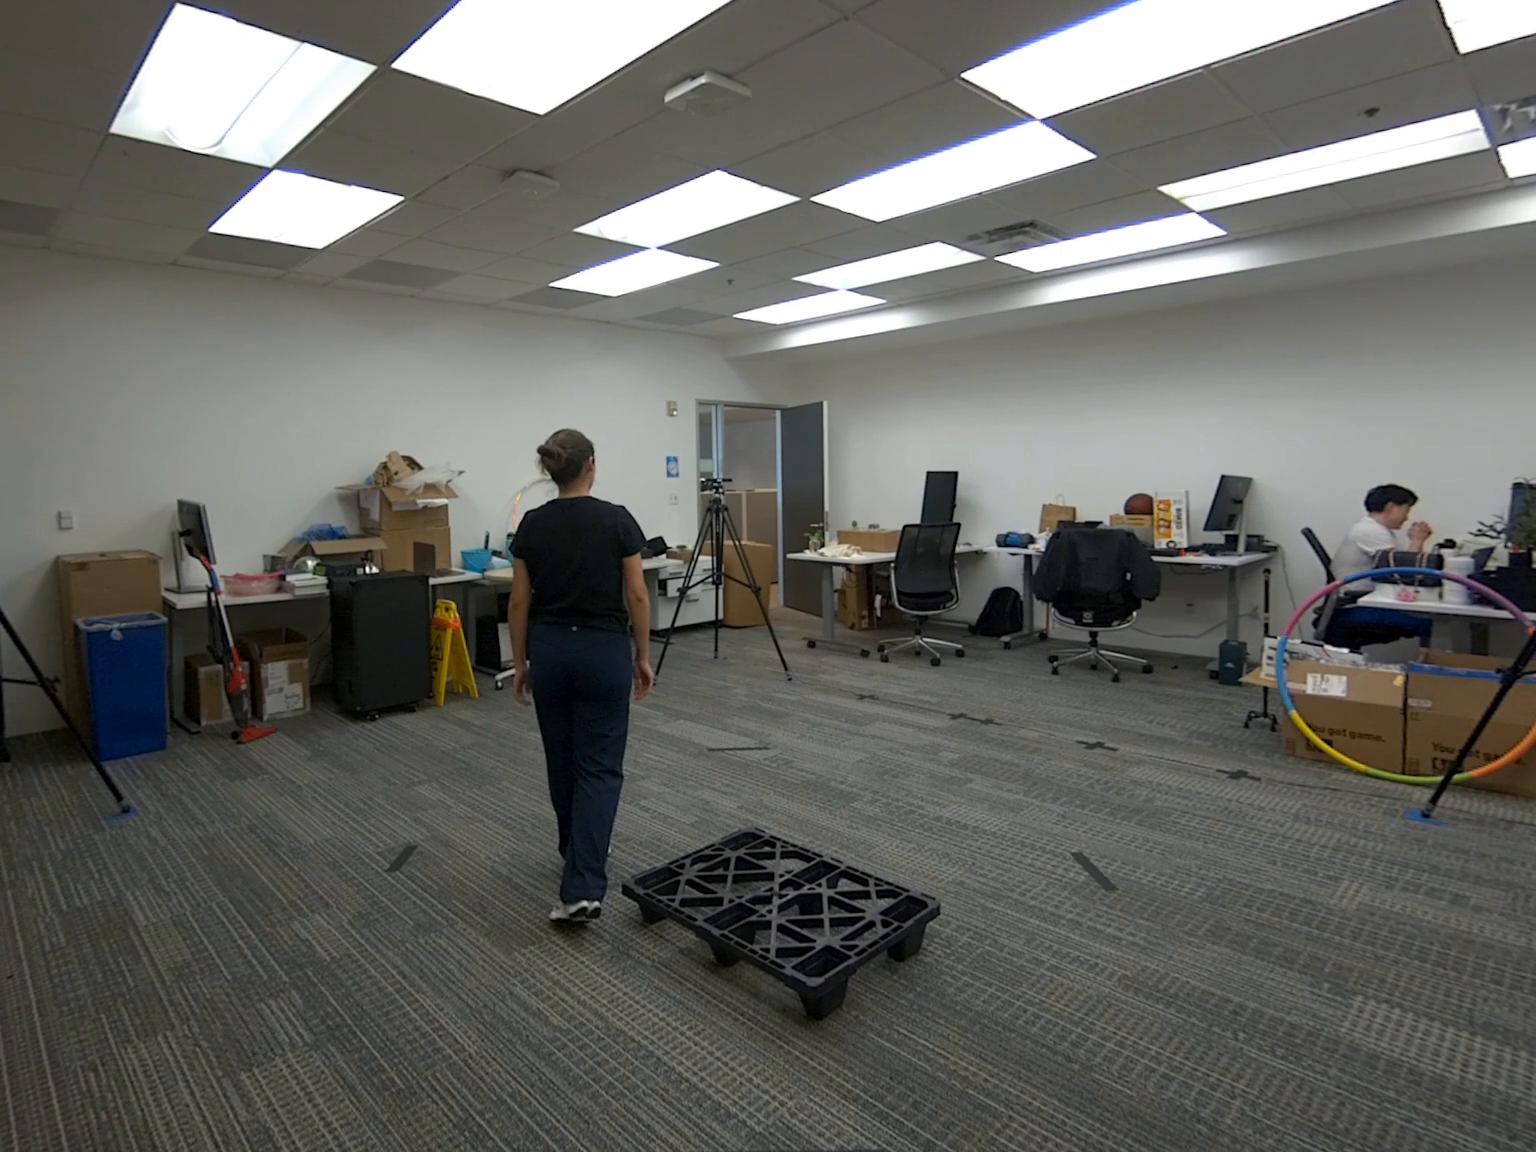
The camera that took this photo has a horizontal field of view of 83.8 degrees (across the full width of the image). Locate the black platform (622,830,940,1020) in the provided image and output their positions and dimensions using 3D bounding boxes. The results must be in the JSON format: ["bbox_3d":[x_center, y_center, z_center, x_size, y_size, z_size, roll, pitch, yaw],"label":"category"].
[{"bbox_3d":[0.028,1.032,2.637,0.831,0.142,0.589,6,9,44],"label":"black platform"}]
